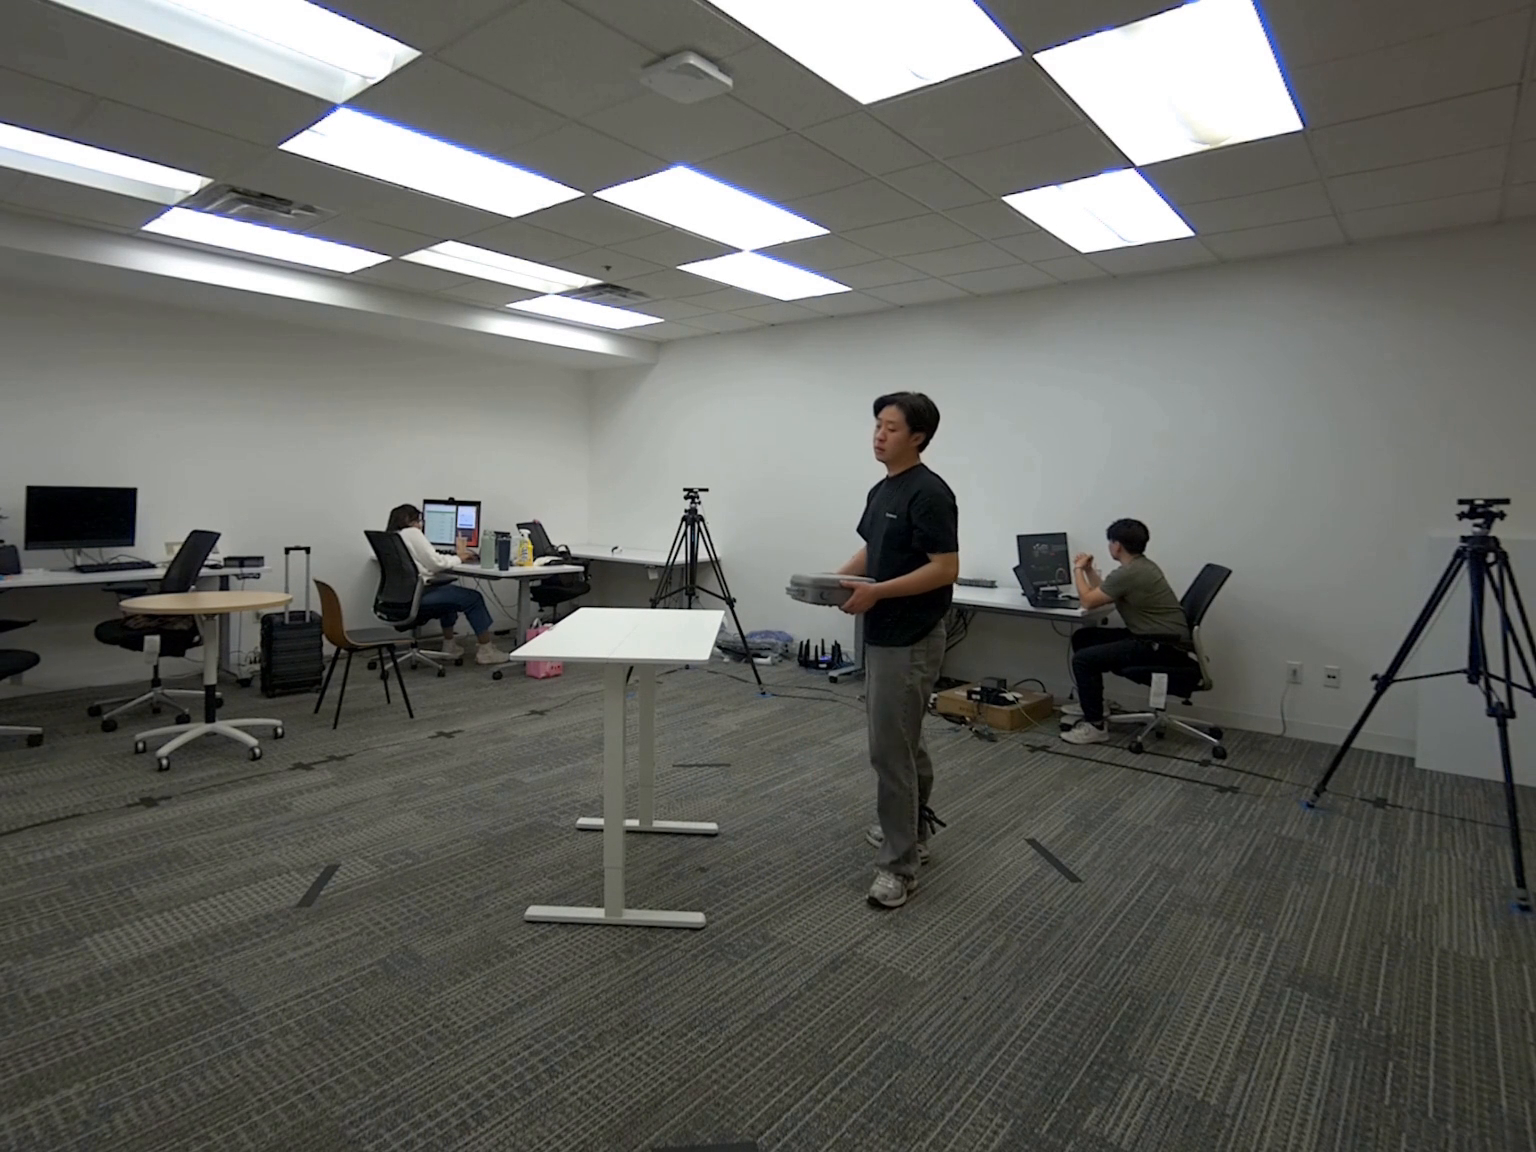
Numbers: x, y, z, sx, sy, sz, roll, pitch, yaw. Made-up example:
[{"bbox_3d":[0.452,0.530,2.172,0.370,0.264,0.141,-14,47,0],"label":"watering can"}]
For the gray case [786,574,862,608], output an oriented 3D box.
[{"bbox_3d":[0.216,0.043,3.055,0.283,0.103,0.267,2,2,-14],"label":"gray case"}]
